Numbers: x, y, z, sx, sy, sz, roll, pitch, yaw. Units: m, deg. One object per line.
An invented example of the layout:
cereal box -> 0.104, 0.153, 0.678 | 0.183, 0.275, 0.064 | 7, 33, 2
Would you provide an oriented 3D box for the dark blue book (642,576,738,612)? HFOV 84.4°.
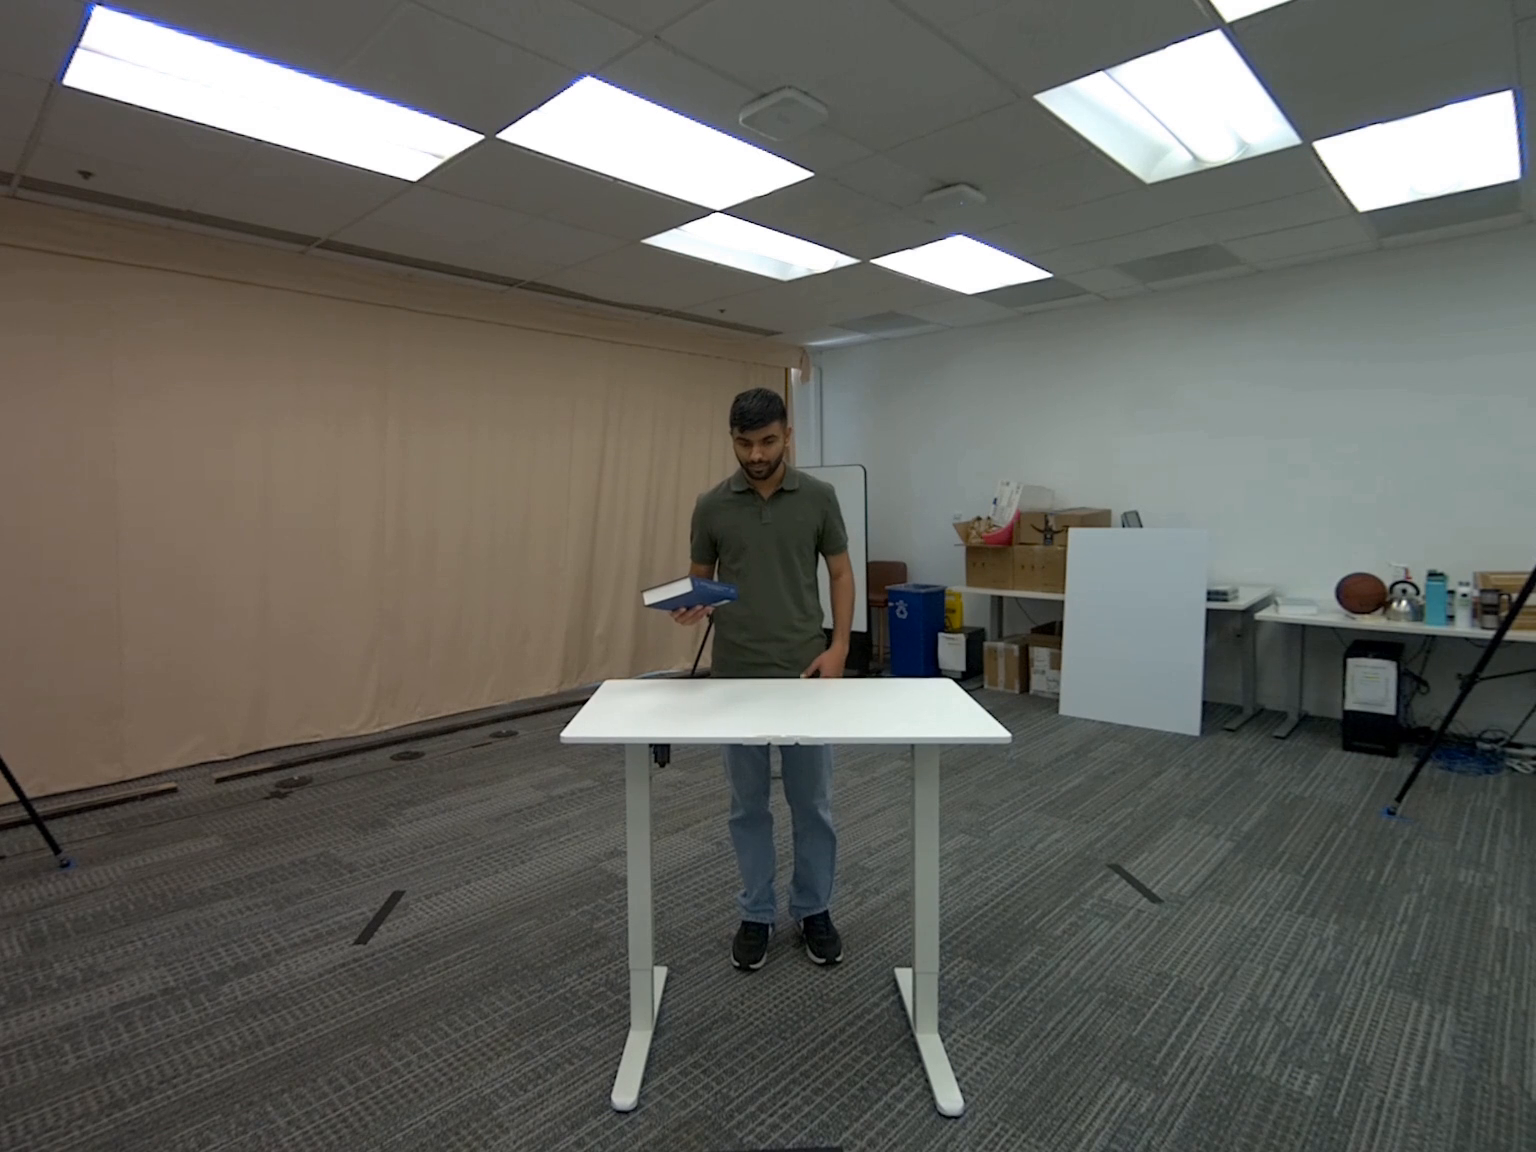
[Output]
dark blue book -> -0.217, 0.054, 2.307 | 0.166, 0.046, 0.238 | -17, -14, 24
